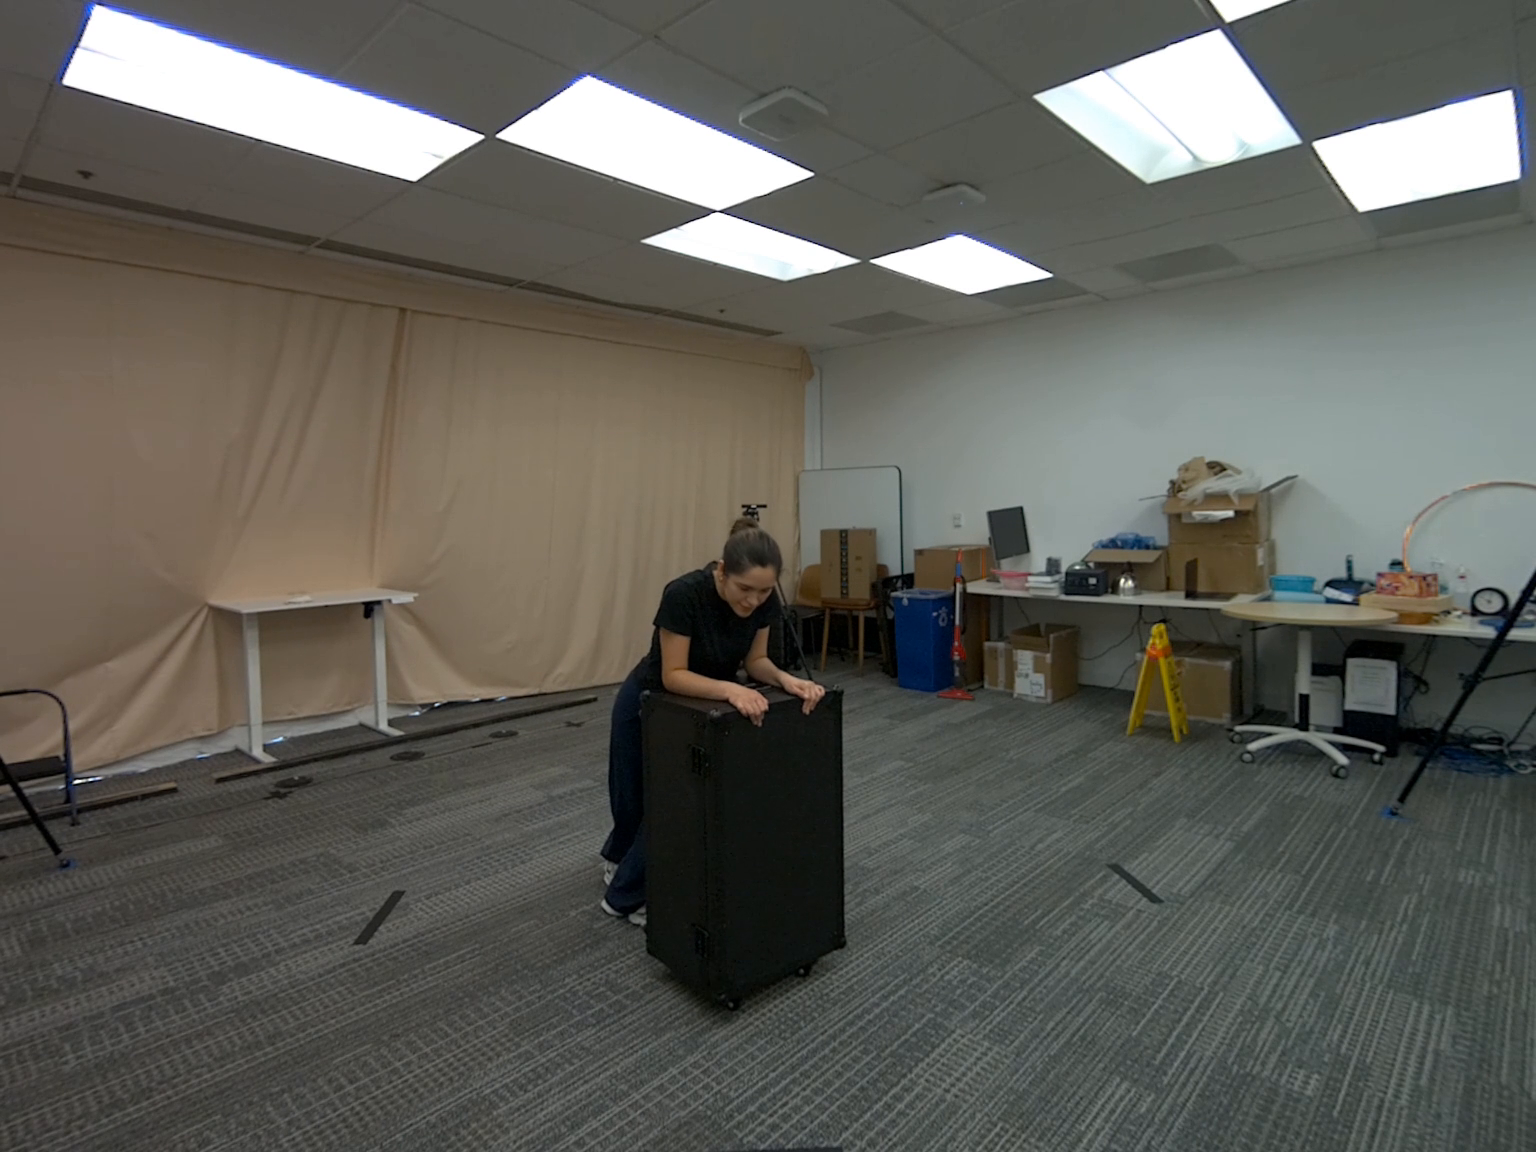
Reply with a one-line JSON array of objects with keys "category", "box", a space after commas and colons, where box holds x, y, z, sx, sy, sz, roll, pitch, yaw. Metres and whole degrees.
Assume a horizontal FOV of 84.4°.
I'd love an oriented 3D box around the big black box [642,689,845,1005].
[{"category": "big black box", "box": [-0.054, 0.702, 2.493, 0.506, 0.859, 0.409, -4, 5, -39]}]
